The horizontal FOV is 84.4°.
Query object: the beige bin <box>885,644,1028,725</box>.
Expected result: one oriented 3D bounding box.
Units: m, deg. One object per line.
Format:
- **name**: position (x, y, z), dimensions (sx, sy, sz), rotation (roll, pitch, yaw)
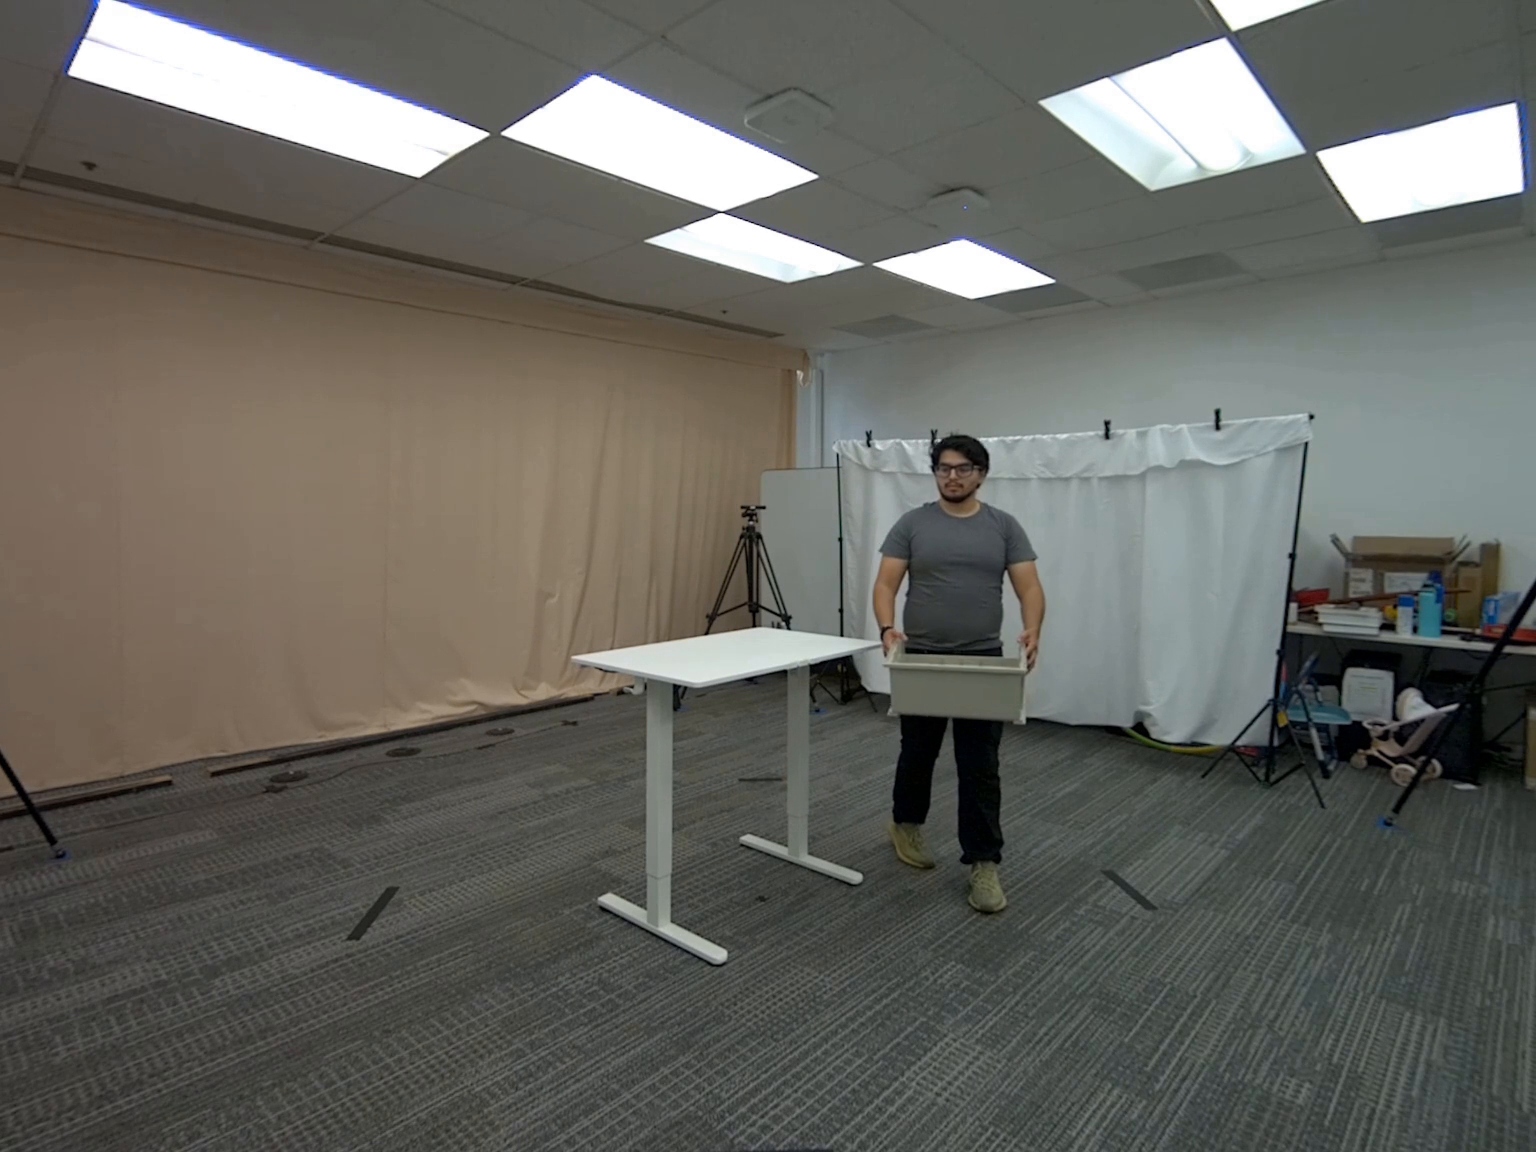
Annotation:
- **beige bin**: position (0.626, 0.318, 2.767), dimensions (0.429, 0.187, 0.374), rotation (3, 15, 15)
